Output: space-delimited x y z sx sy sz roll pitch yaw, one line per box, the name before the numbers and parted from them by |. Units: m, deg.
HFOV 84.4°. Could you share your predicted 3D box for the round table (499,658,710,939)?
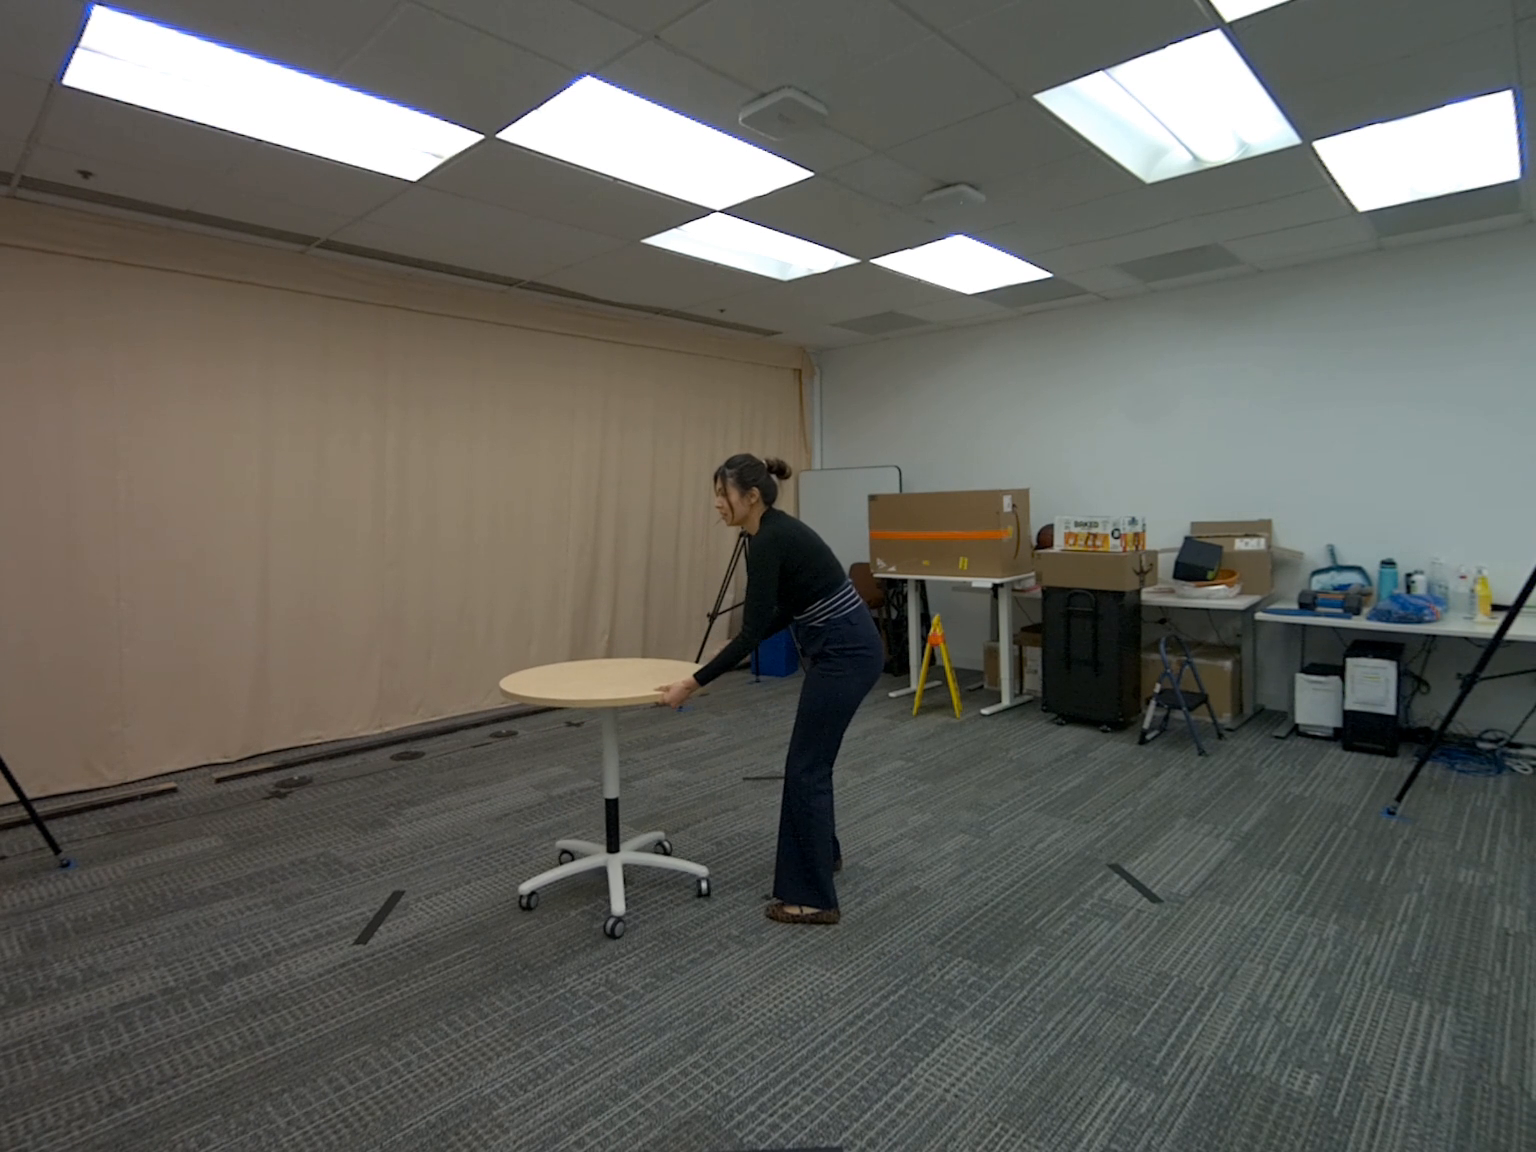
round table | -0.563 0.759 3.065 0.763 0.792 0.766 -1 3 -2
